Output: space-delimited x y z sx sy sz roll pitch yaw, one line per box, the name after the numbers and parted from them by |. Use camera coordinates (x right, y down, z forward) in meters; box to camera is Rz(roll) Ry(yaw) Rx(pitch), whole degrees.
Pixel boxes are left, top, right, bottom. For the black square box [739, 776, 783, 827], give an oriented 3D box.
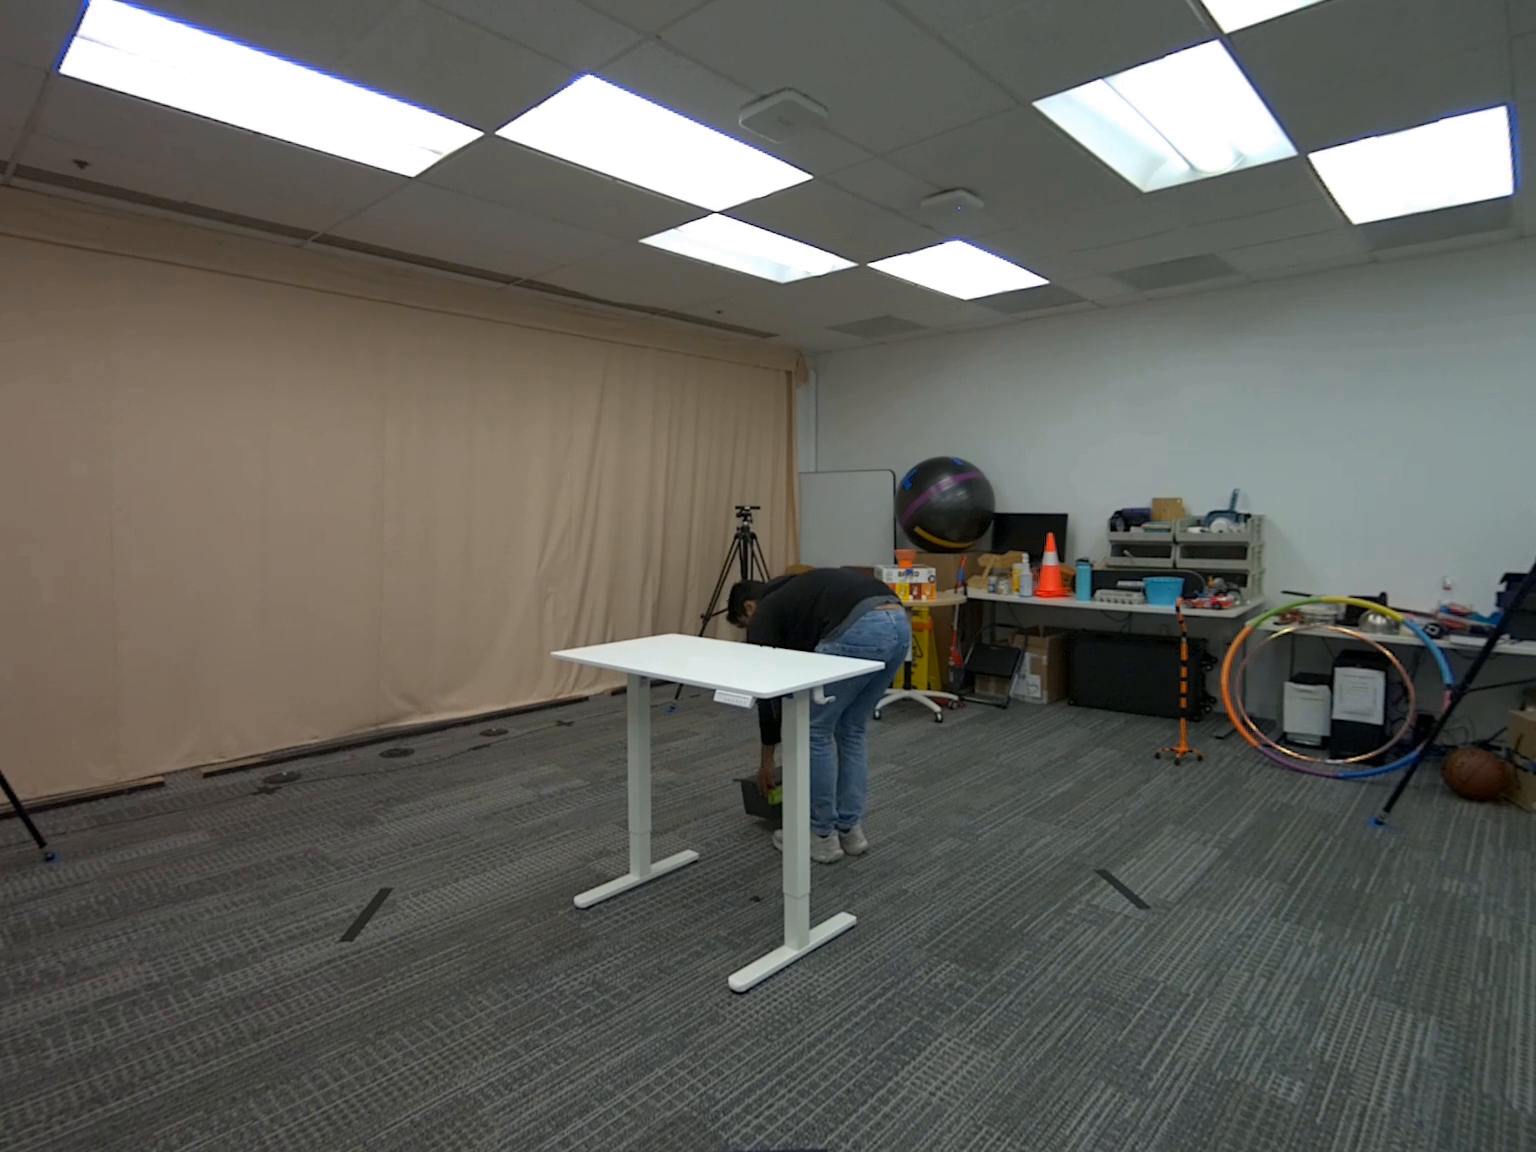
0.035 0.922 3.671 0.222 0.156 0.223 -9 1 -36 | black square box
